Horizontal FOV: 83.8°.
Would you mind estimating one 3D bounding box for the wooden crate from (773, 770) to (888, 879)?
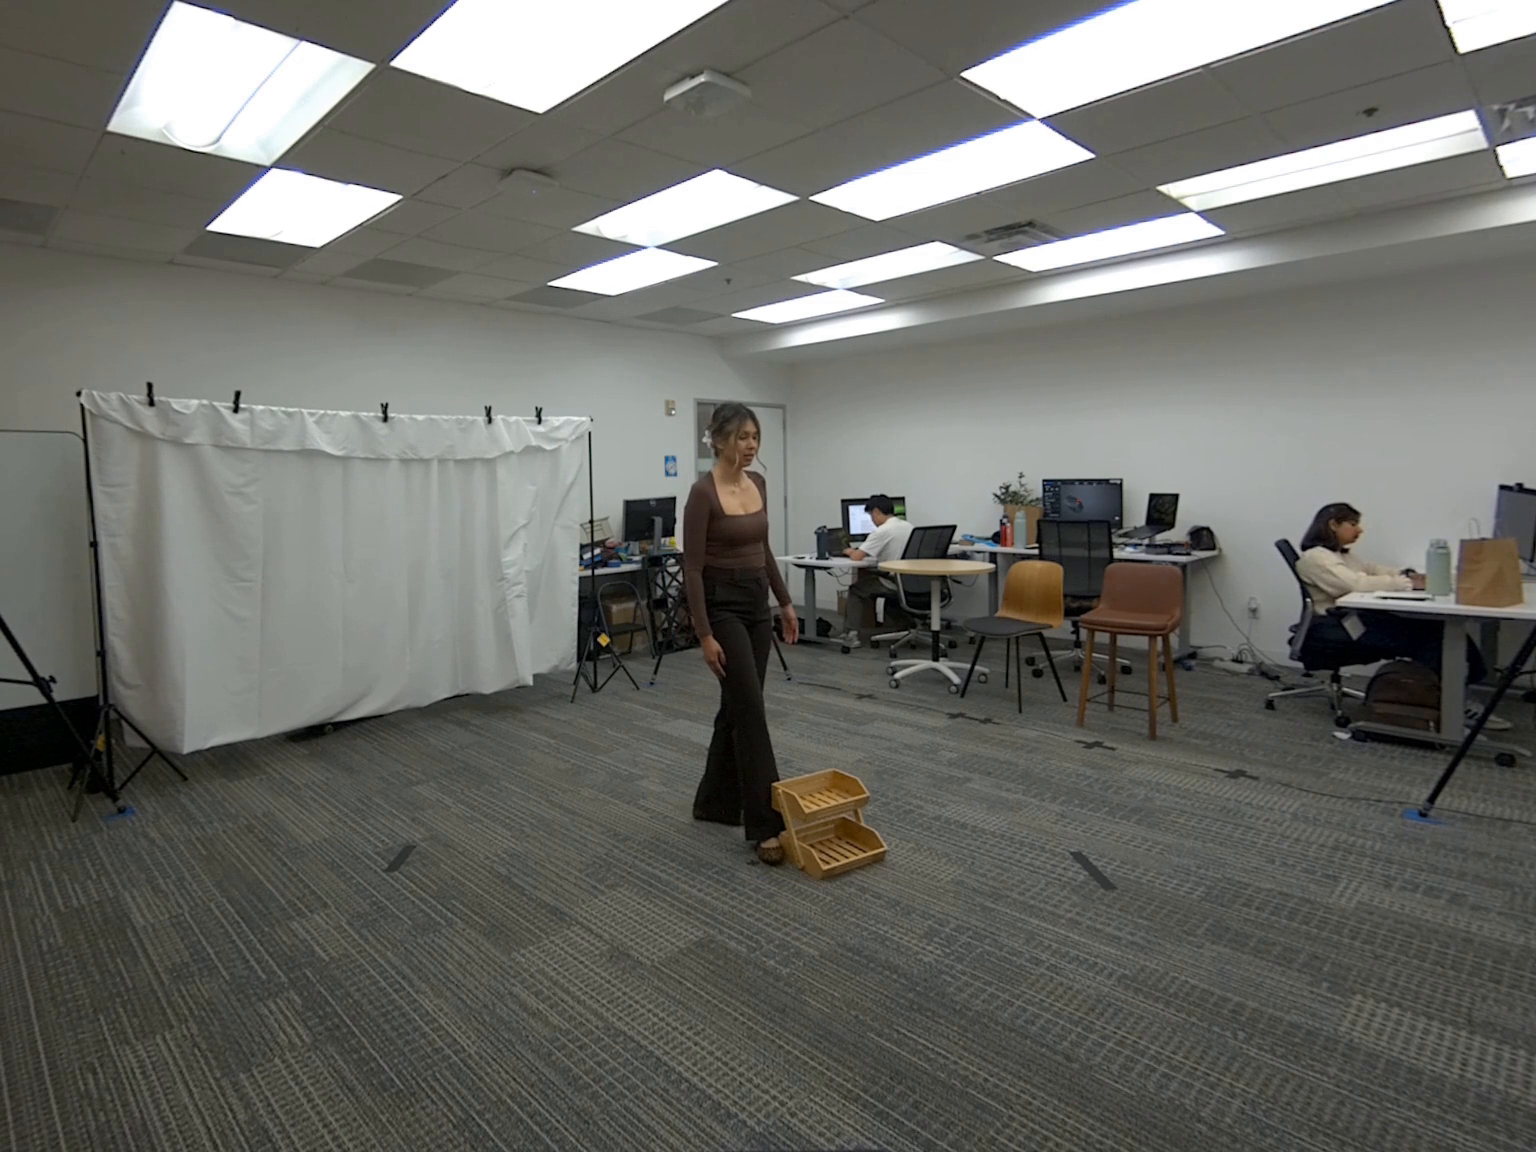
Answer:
[{"bbox_3d":[0.229,0.902,3.135,0.316,0.272,0.311,-4,6,-33],"label":"wooden crate"}]
